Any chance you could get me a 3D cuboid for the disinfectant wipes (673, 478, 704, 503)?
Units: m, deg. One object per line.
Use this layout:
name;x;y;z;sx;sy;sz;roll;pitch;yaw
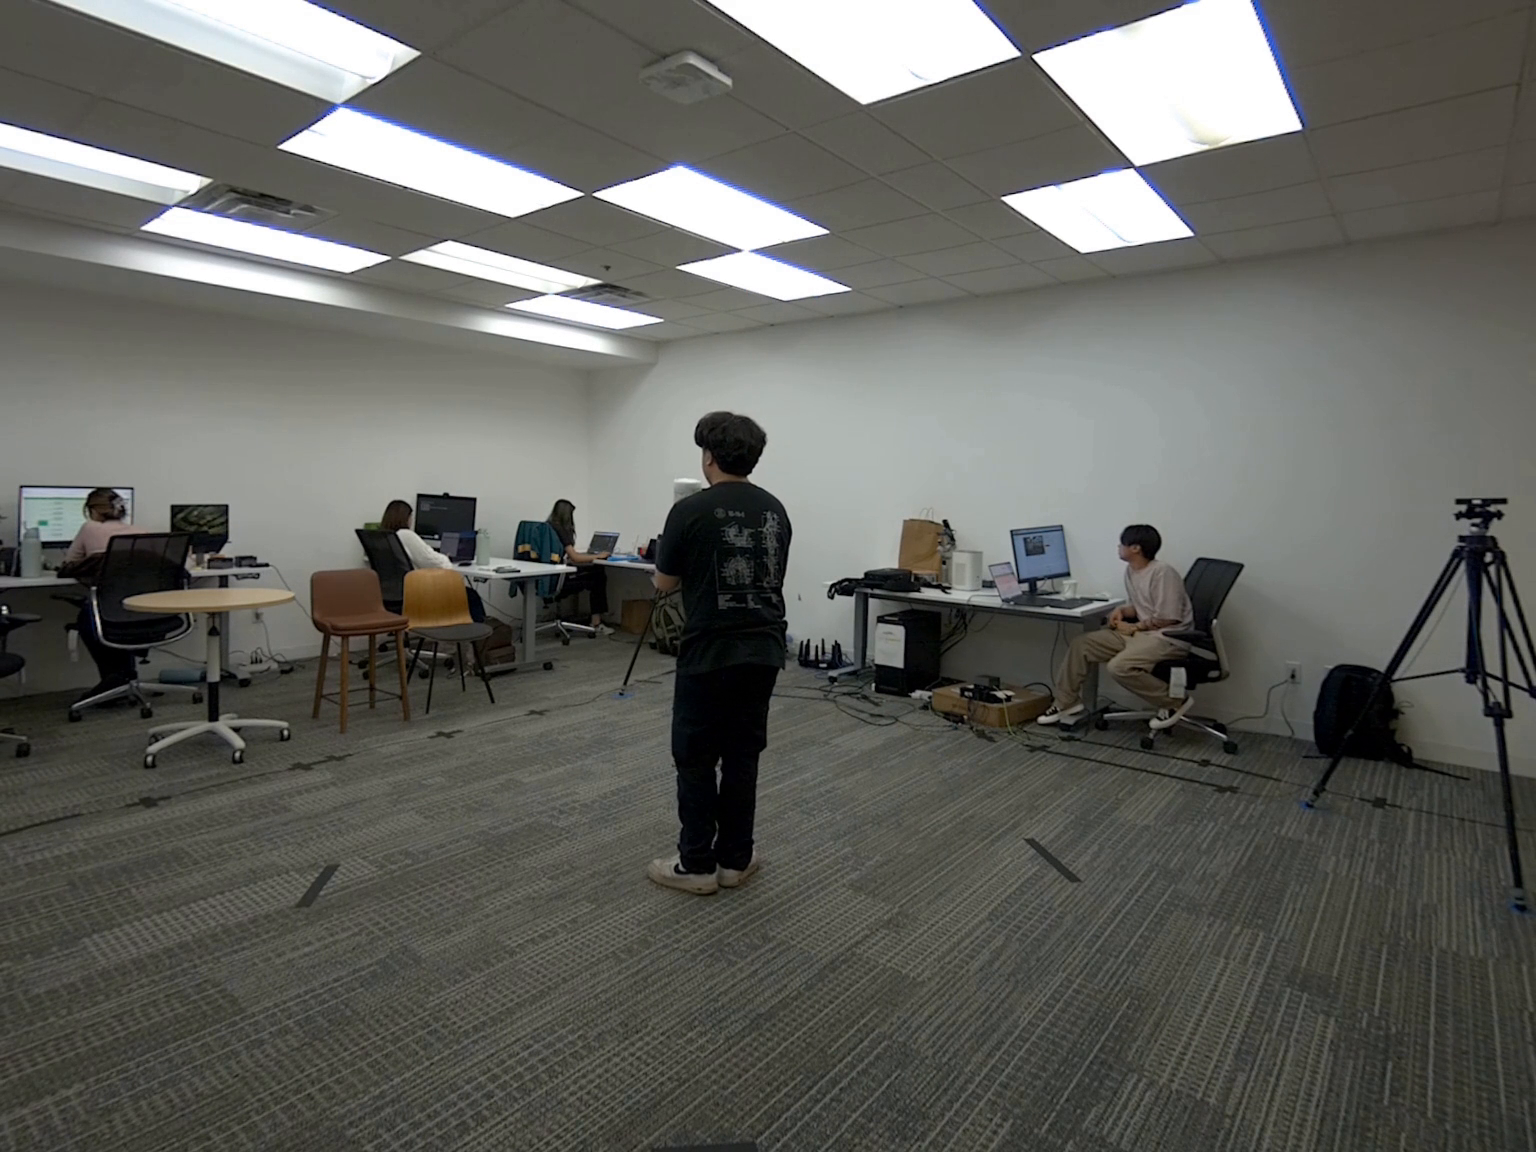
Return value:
disinfectant wipes;-0.323;-0.266;3.289;0.118;0.215;0.119;-1;11;-2
